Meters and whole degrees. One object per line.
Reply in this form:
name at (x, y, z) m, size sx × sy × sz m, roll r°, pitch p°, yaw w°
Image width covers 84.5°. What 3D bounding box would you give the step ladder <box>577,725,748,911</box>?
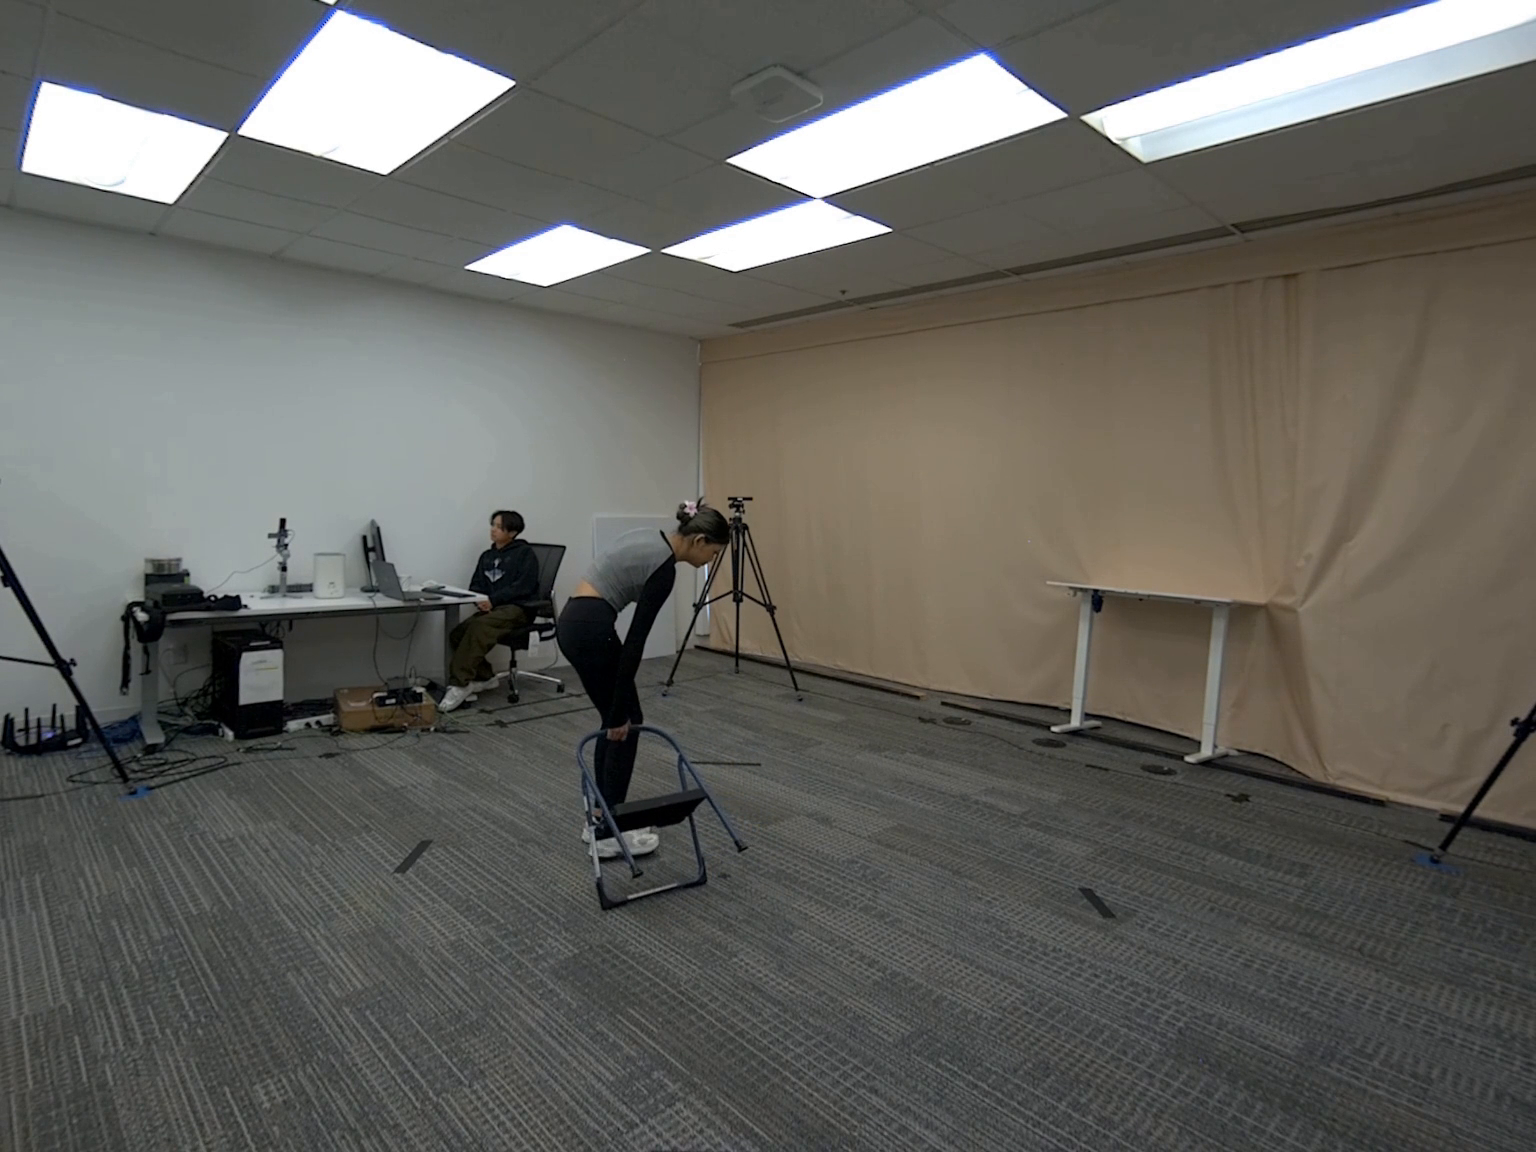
step ladder at (-0.430, 0.782, 2.976) m, size 0.421 × 0.622 × 0.348 m, roll -1°, pitch -37°, yaw -36°
